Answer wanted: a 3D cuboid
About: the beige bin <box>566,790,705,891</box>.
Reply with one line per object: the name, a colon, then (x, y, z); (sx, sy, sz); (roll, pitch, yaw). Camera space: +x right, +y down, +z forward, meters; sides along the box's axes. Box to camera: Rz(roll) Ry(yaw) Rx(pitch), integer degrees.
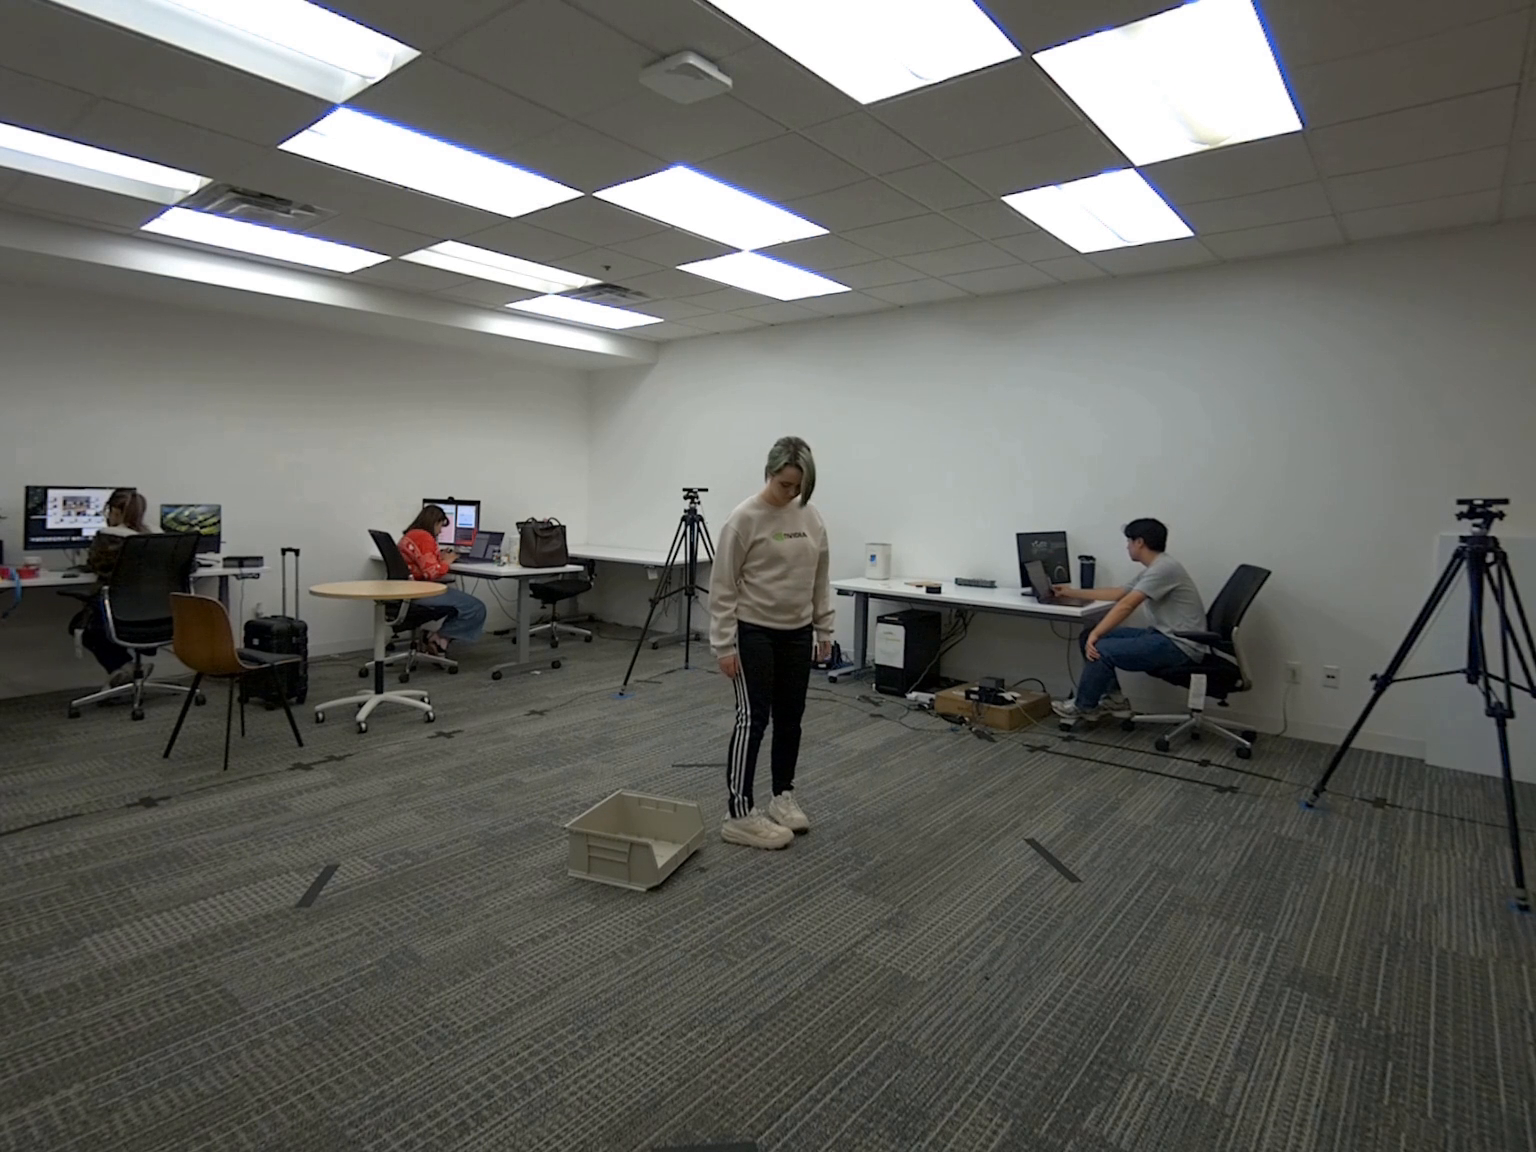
beige bin: (-0.494, 0.972, 3.155); (0.386, 0.188, 0.415); (2, 5, 20)
